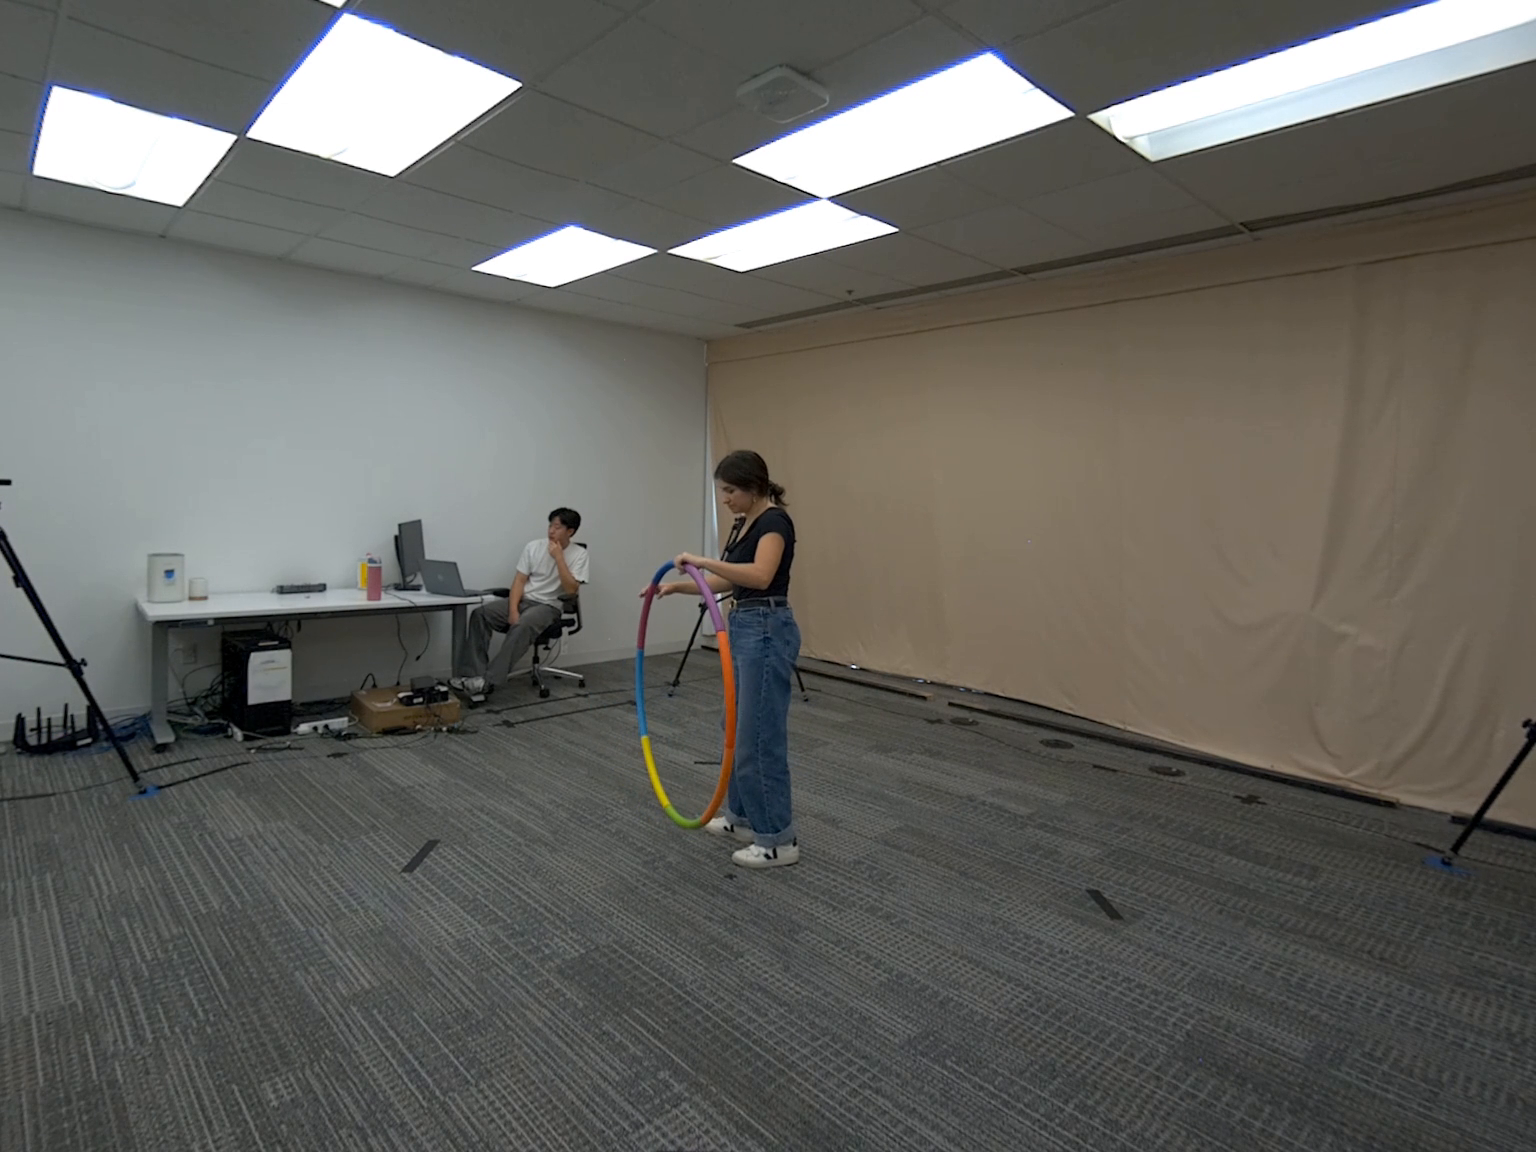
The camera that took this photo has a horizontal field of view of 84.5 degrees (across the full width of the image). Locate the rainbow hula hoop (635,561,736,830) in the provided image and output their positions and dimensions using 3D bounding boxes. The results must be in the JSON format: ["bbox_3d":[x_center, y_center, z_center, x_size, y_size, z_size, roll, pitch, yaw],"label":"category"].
[{"bbox_3d":[-0.335,0.432,3.127,0.035,0.976,0.999,-1,5,-26],"label":"rainbow hula hoop"}]
